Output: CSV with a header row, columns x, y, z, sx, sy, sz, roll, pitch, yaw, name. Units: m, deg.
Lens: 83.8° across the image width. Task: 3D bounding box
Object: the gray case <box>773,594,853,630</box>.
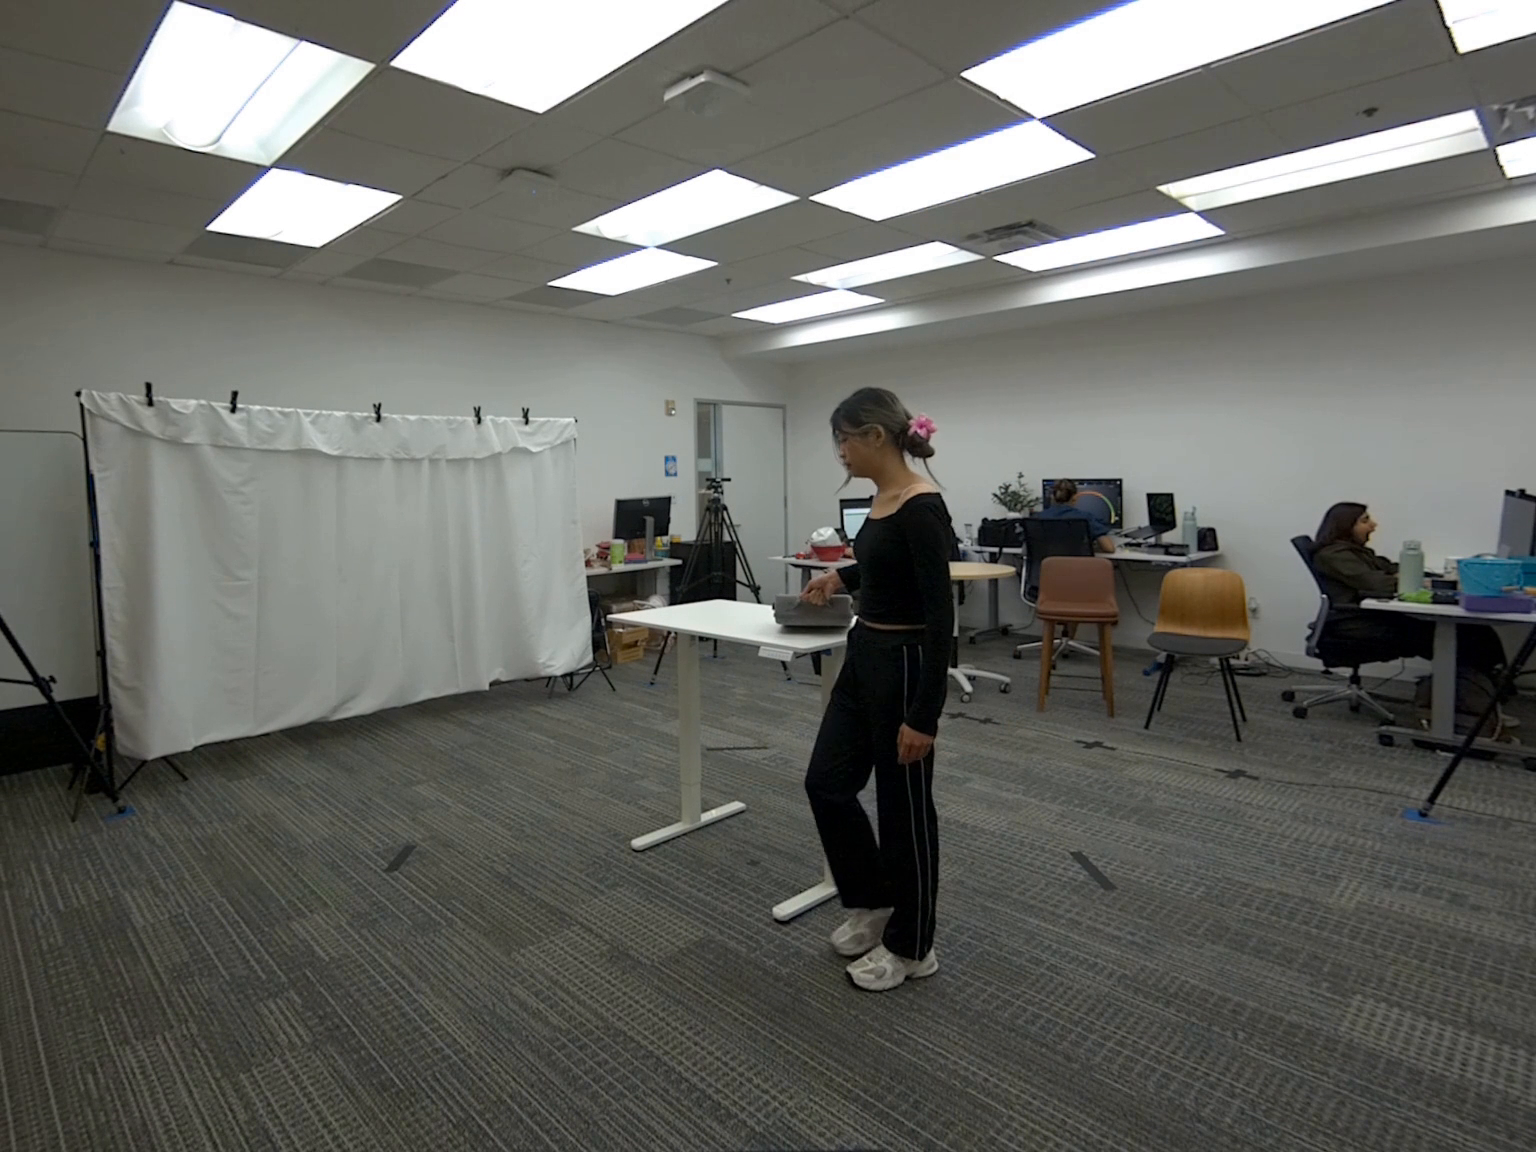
x,y,z,sx,sy,sz,roll,pitch,yaw,name
0.165,0.108,2.873,0.259,0.104,0.257,-1,-2,8,gray case
